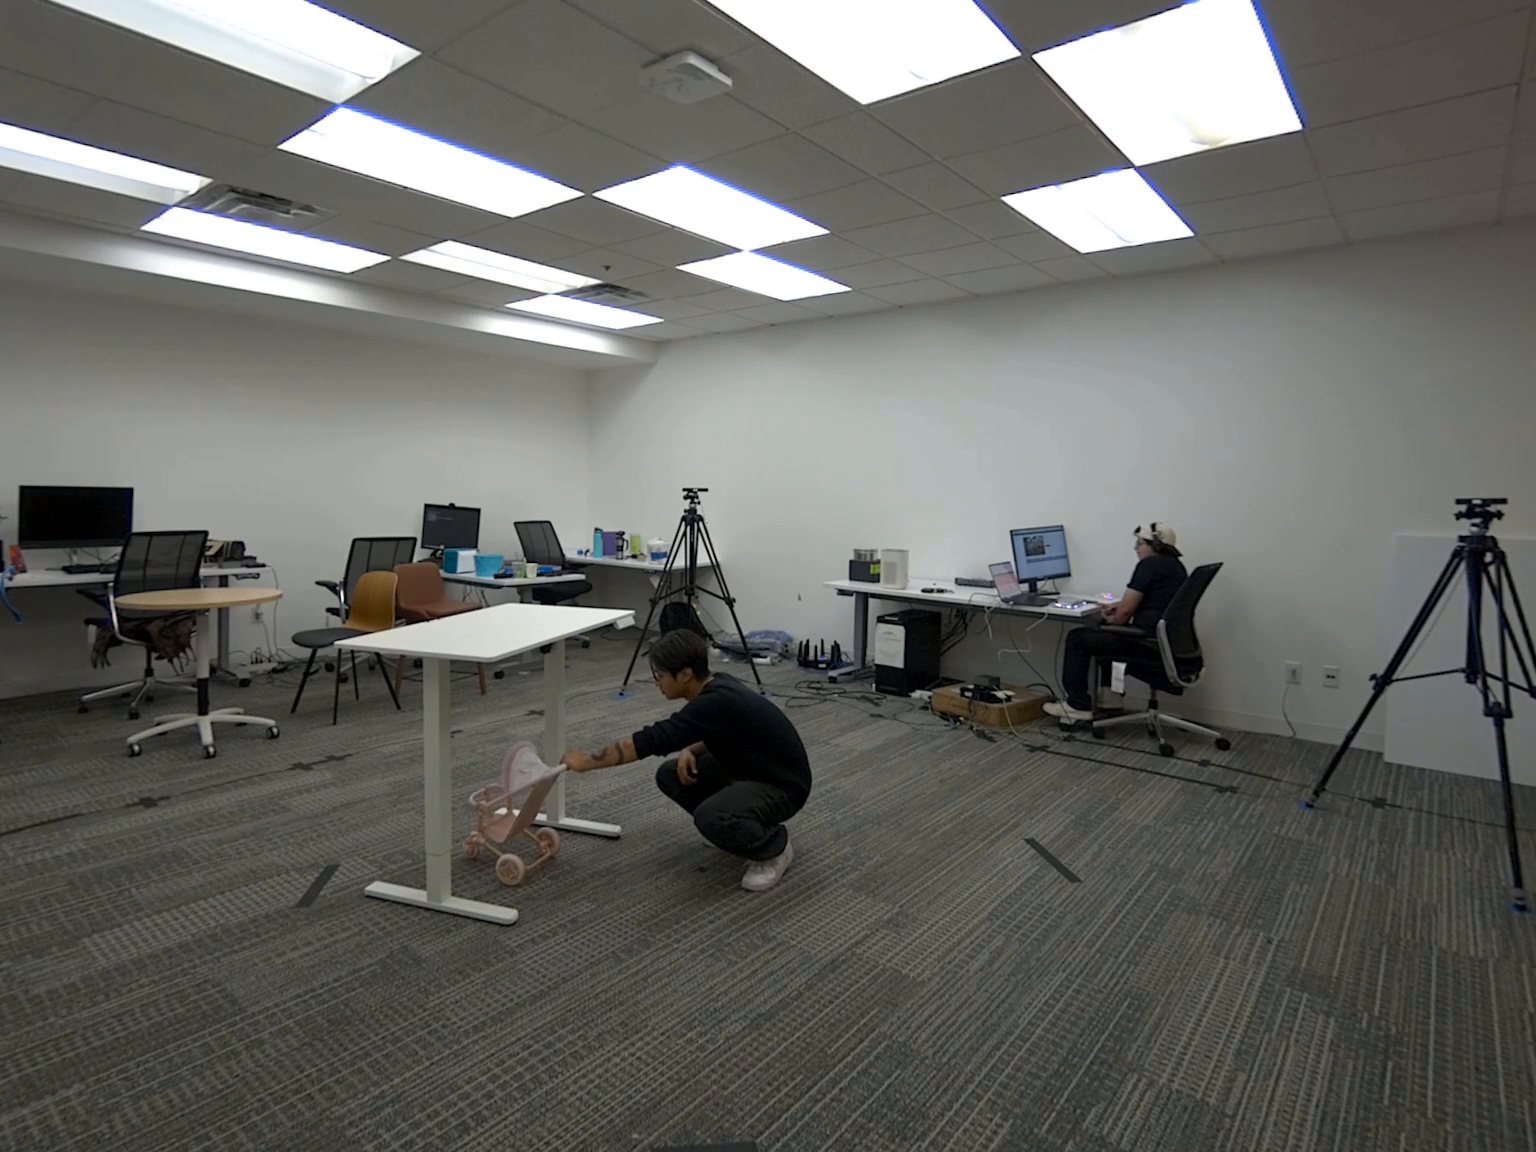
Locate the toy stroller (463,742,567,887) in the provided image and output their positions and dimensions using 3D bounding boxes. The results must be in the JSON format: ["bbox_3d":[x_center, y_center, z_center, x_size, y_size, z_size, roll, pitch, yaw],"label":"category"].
[{"bbox_3d":[-0.929,0.840,3.093,0.351,0.532,0.275,20,10,21],"label":"toy stroller"}]
